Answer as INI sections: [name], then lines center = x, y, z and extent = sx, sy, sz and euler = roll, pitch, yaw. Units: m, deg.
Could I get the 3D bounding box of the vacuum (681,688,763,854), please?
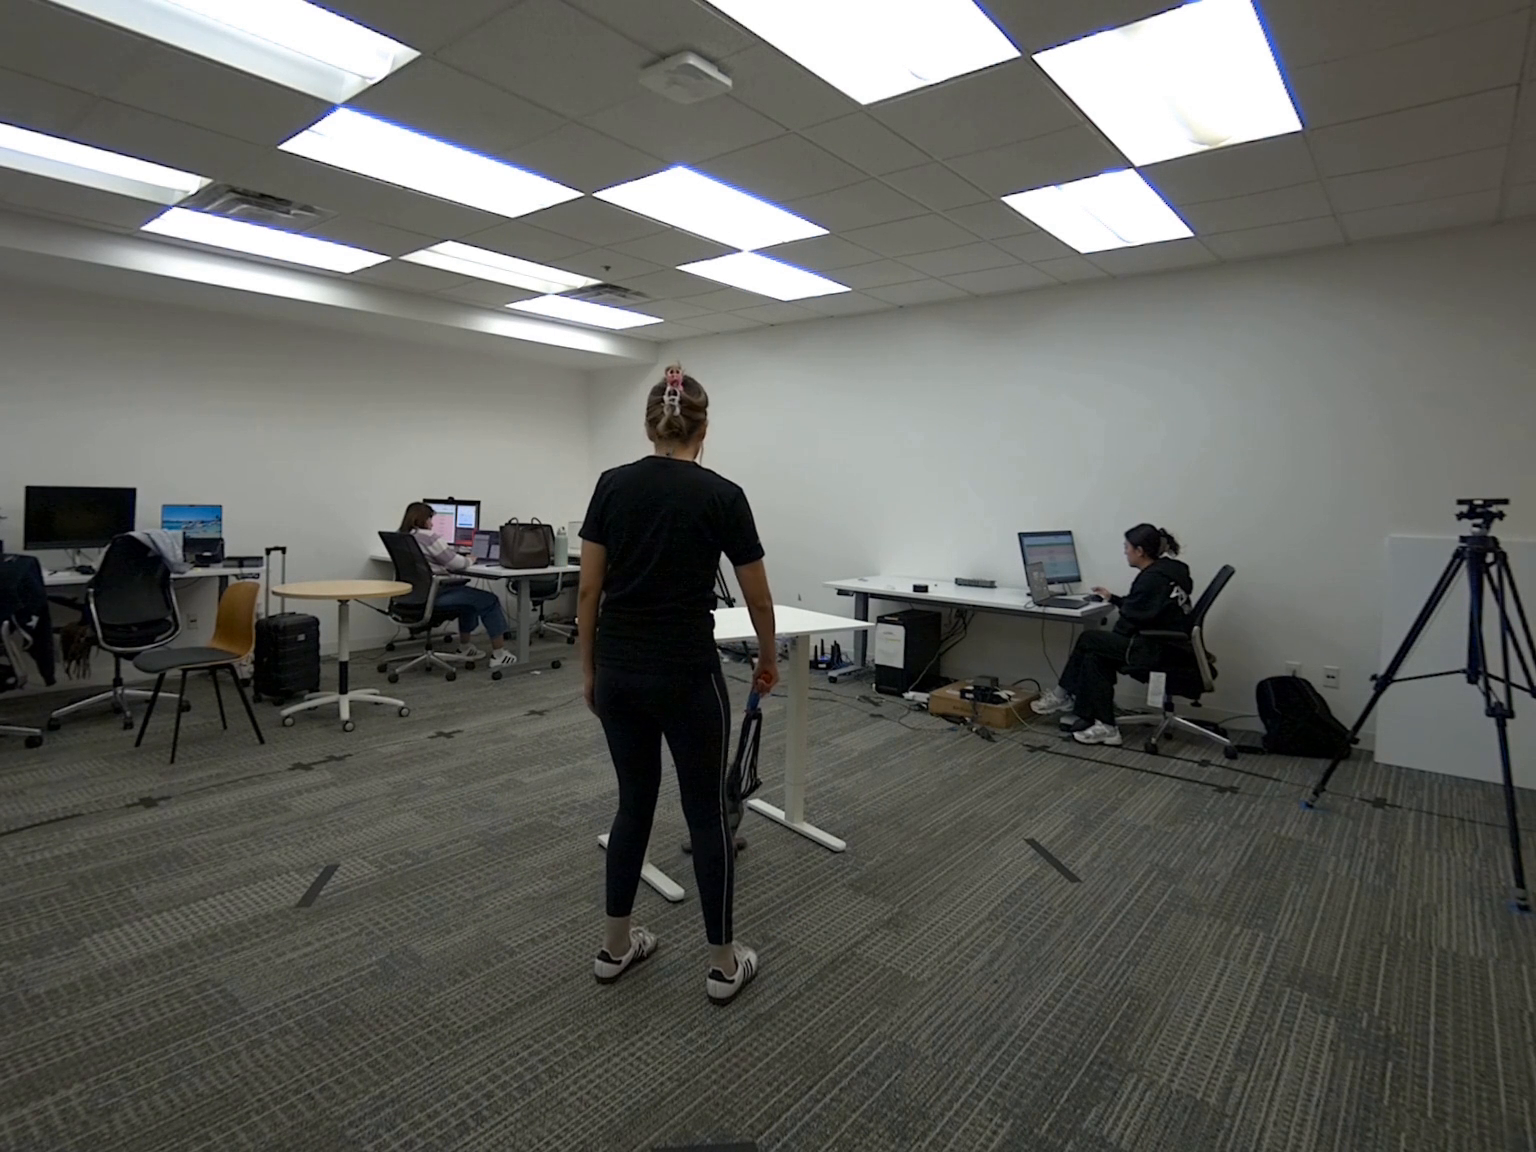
[vacuum]
center = -0.116, 0.682, 2.892
extent = 0.249, 1.028, 0.149
euler = 1, 45, -14
